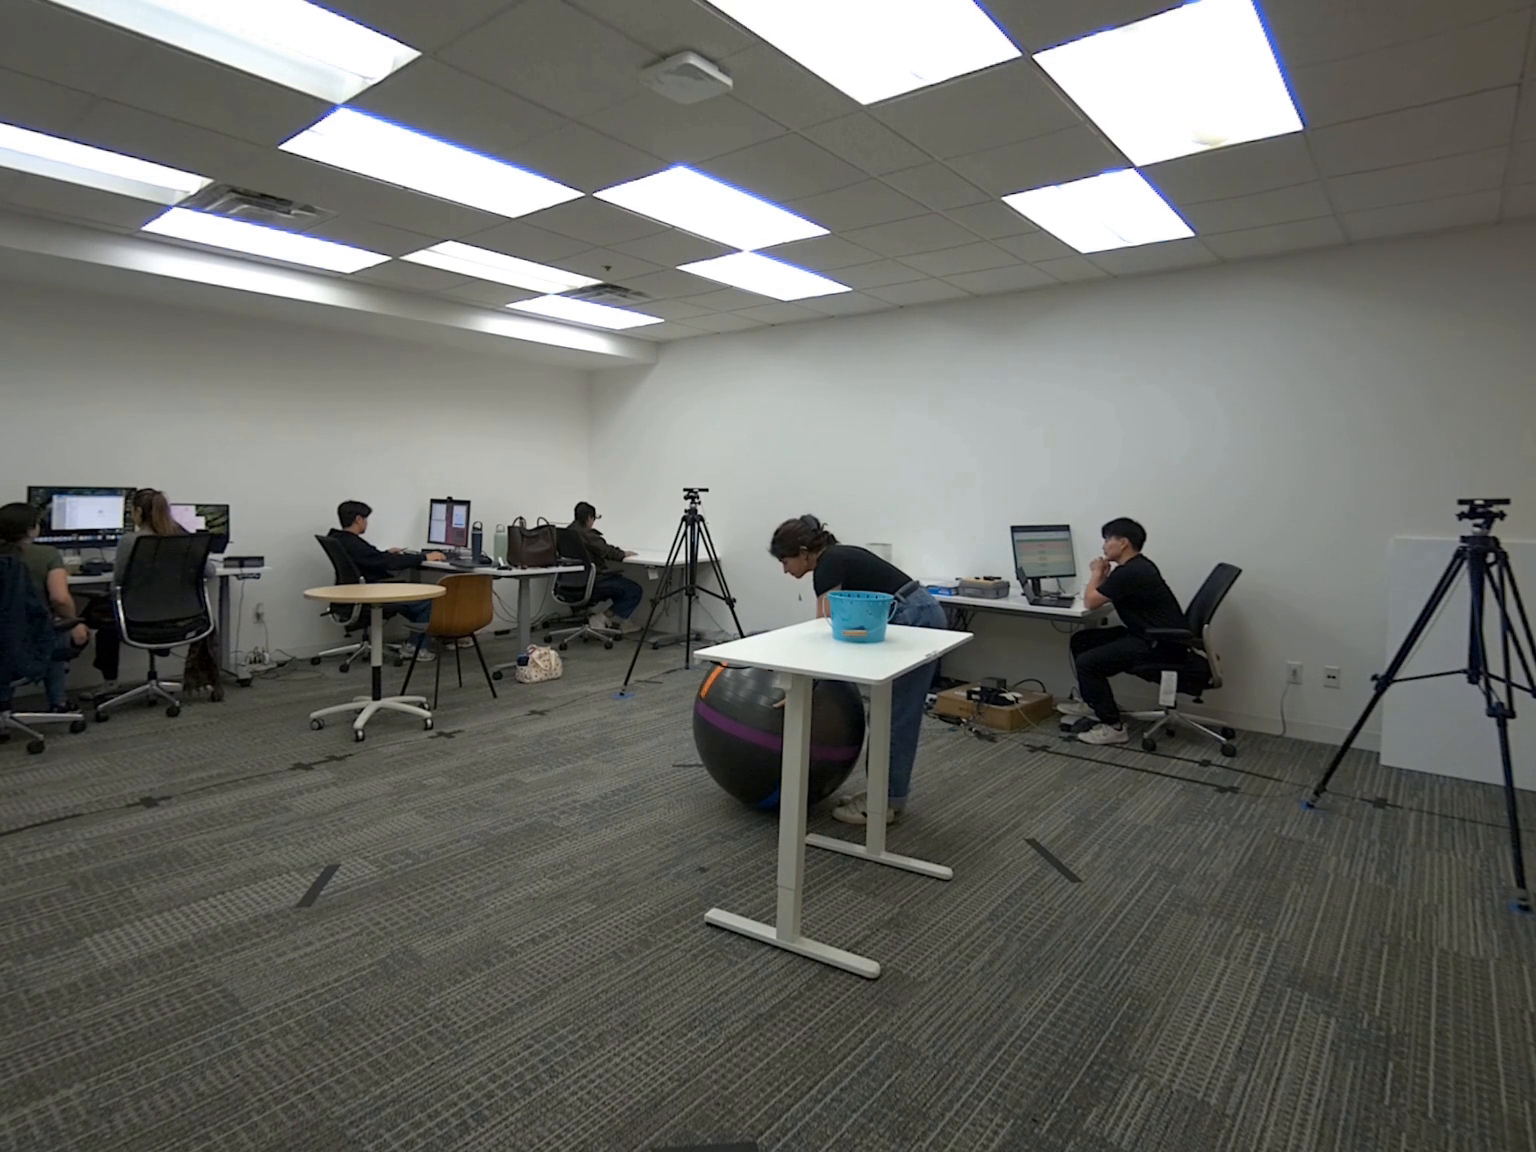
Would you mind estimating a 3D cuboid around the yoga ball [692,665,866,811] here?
[{"bbox_3d":[0.041,0.650,3.785,0.757,0.756,0.762,1,4,-2],"label":"yoga ball"}]
